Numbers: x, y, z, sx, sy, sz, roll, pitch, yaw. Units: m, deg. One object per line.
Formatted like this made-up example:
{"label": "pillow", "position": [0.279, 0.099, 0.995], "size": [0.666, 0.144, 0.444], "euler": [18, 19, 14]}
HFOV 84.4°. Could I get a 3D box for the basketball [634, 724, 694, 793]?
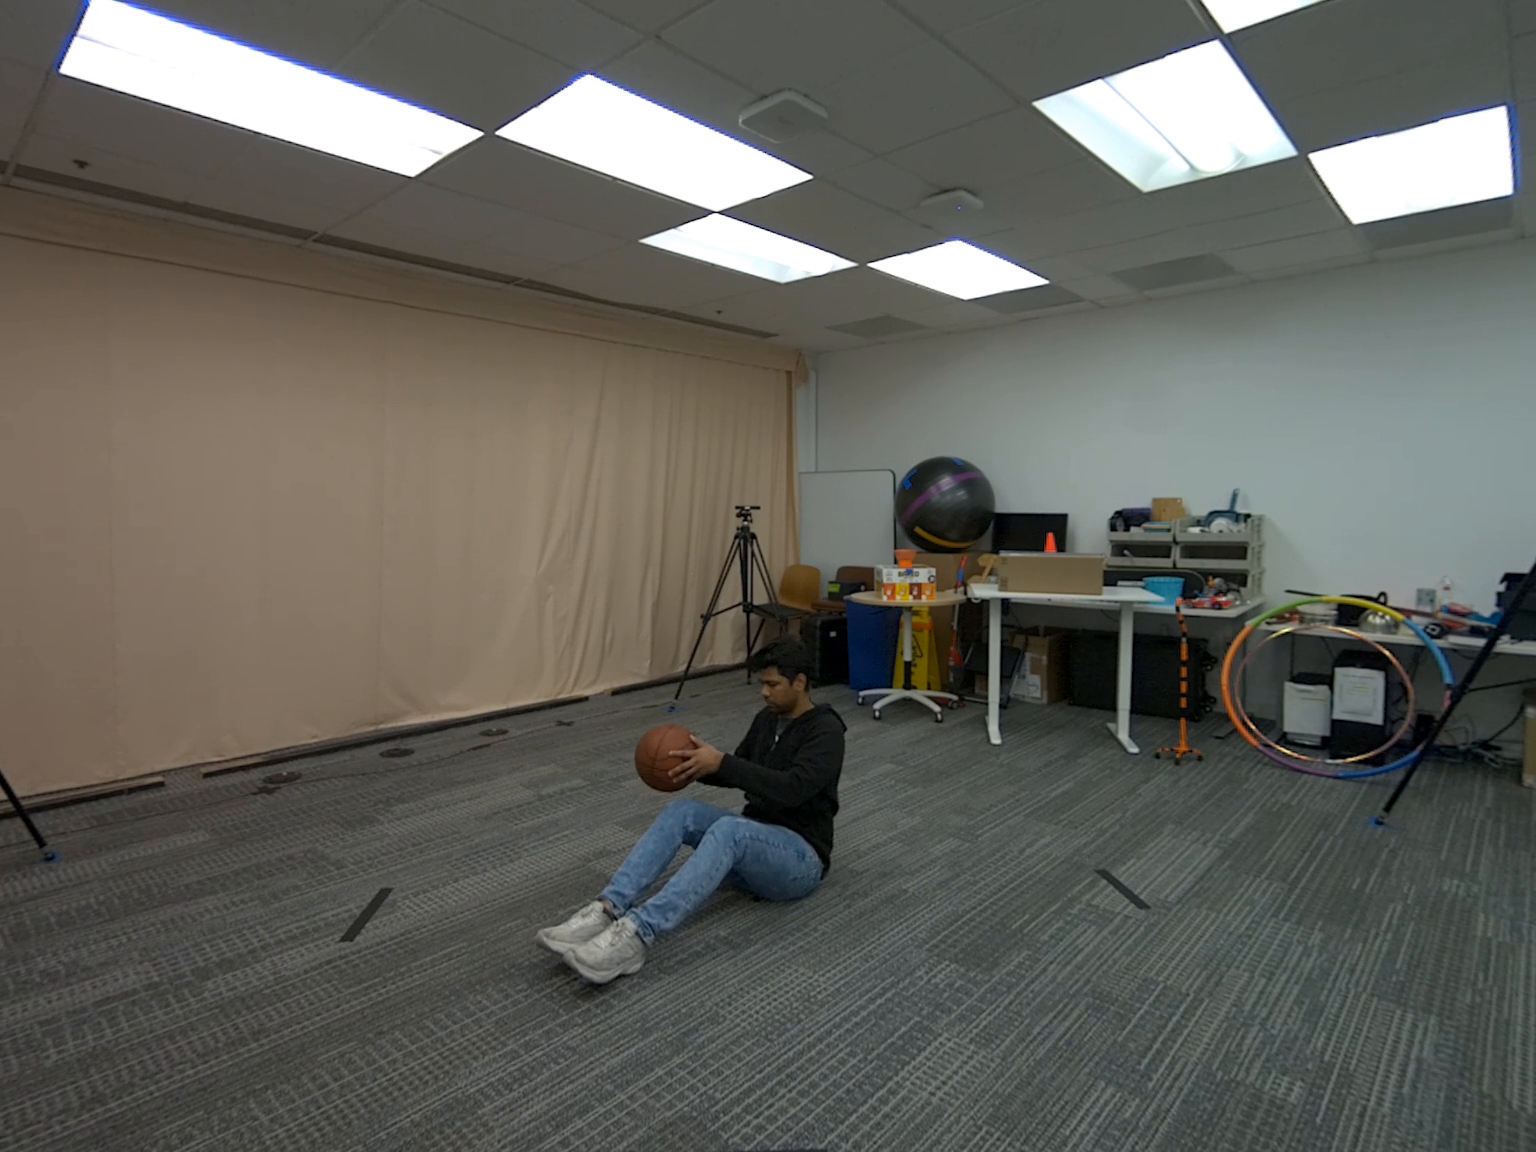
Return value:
{"label": "basketball", "position": [-0.337, 0.665, 3.022], "size": [0.236, 0.235, 0.237], "euler": [0, 4, -2]}
